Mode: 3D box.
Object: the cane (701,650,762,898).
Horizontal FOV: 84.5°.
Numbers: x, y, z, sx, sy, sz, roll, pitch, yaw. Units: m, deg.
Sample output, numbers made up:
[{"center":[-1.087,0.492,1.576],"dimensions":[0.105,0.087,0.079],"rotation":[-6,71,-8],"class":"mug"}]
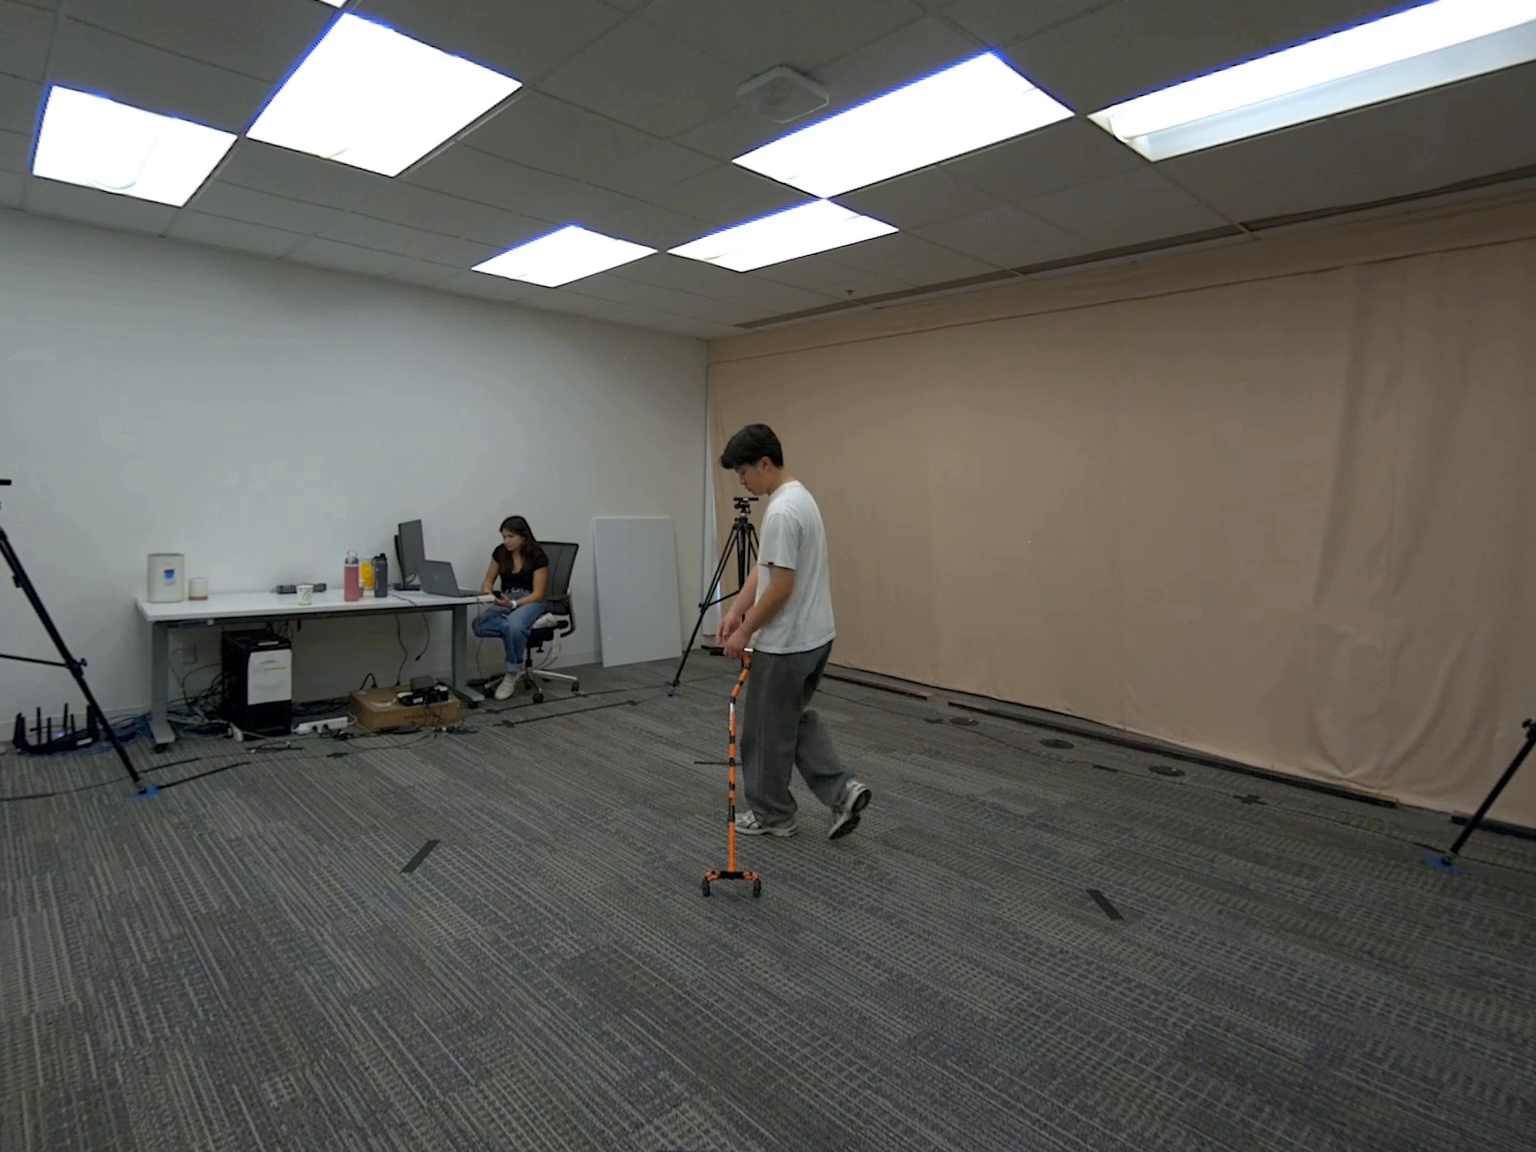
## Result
[{"center":[-0.136,0.699,3.113],"dimensions":[0.206,0.925,0.149],"rotation":[1,-30,-3],"class":"cane"}]
